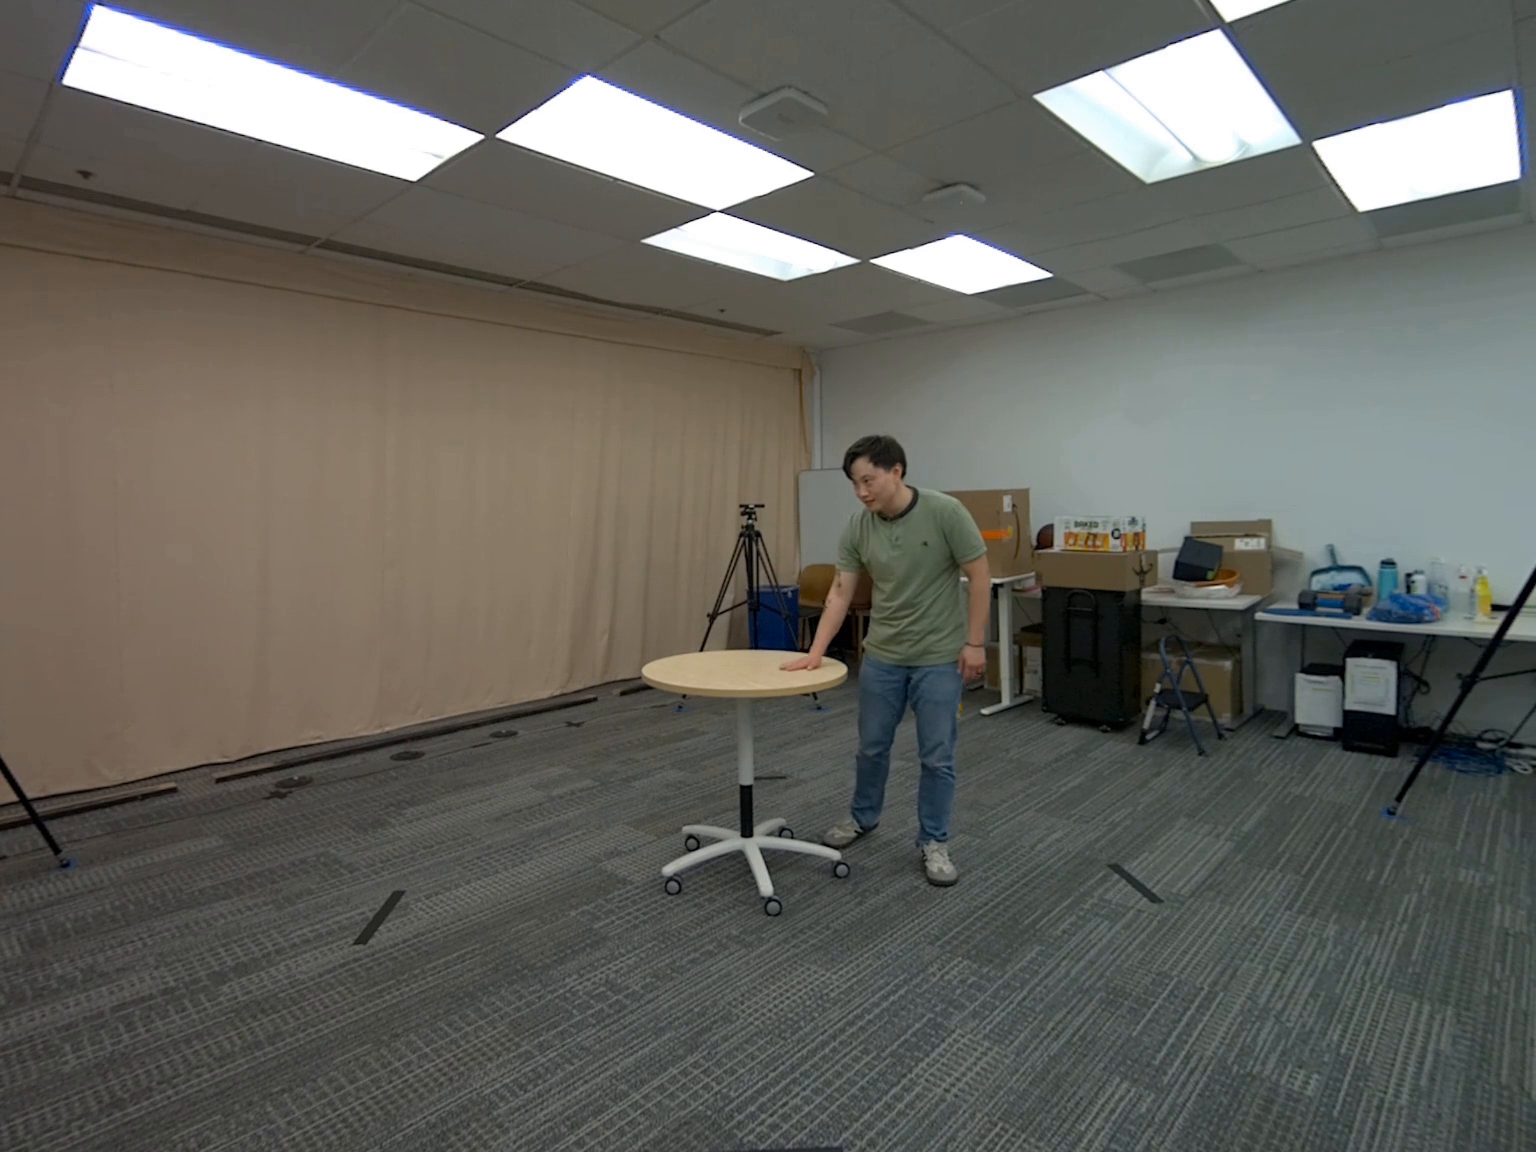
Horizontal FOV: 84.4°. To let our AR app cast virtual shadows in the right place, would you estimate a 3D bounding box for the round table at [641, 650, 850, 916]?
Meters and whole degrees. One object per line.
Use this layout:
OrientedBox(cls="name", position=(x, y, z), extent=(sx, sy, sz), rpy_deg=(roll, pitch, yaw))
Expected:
OrientedBox(cls="round table", position=(-0.083, 0.738, 3.172), extent=(0.763, 0.792, 0.766), rpy_deg=(-1, 4, -2))
